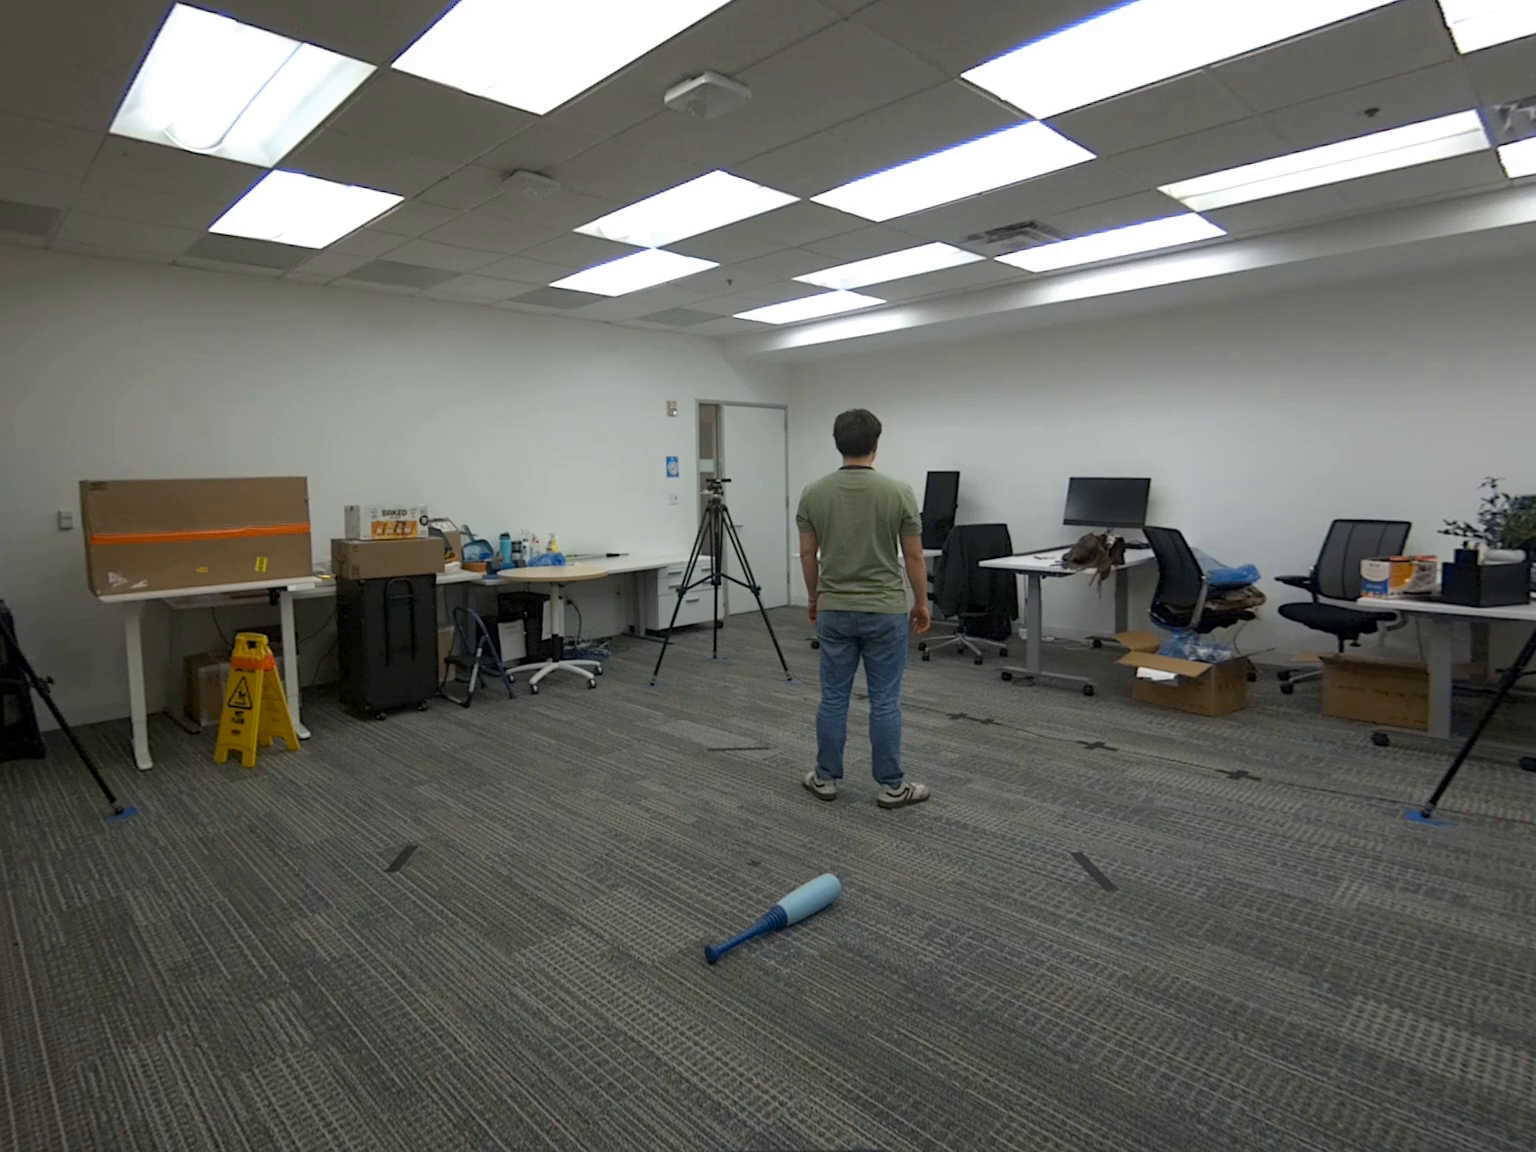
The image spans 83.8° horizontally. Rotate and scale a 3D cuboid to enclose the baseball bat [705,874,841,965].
[{"bbox_3d":[0.030,1.064,2.641,0.530,0.088,0.092,-13,11,-41],"label":"baseball bat"}]
